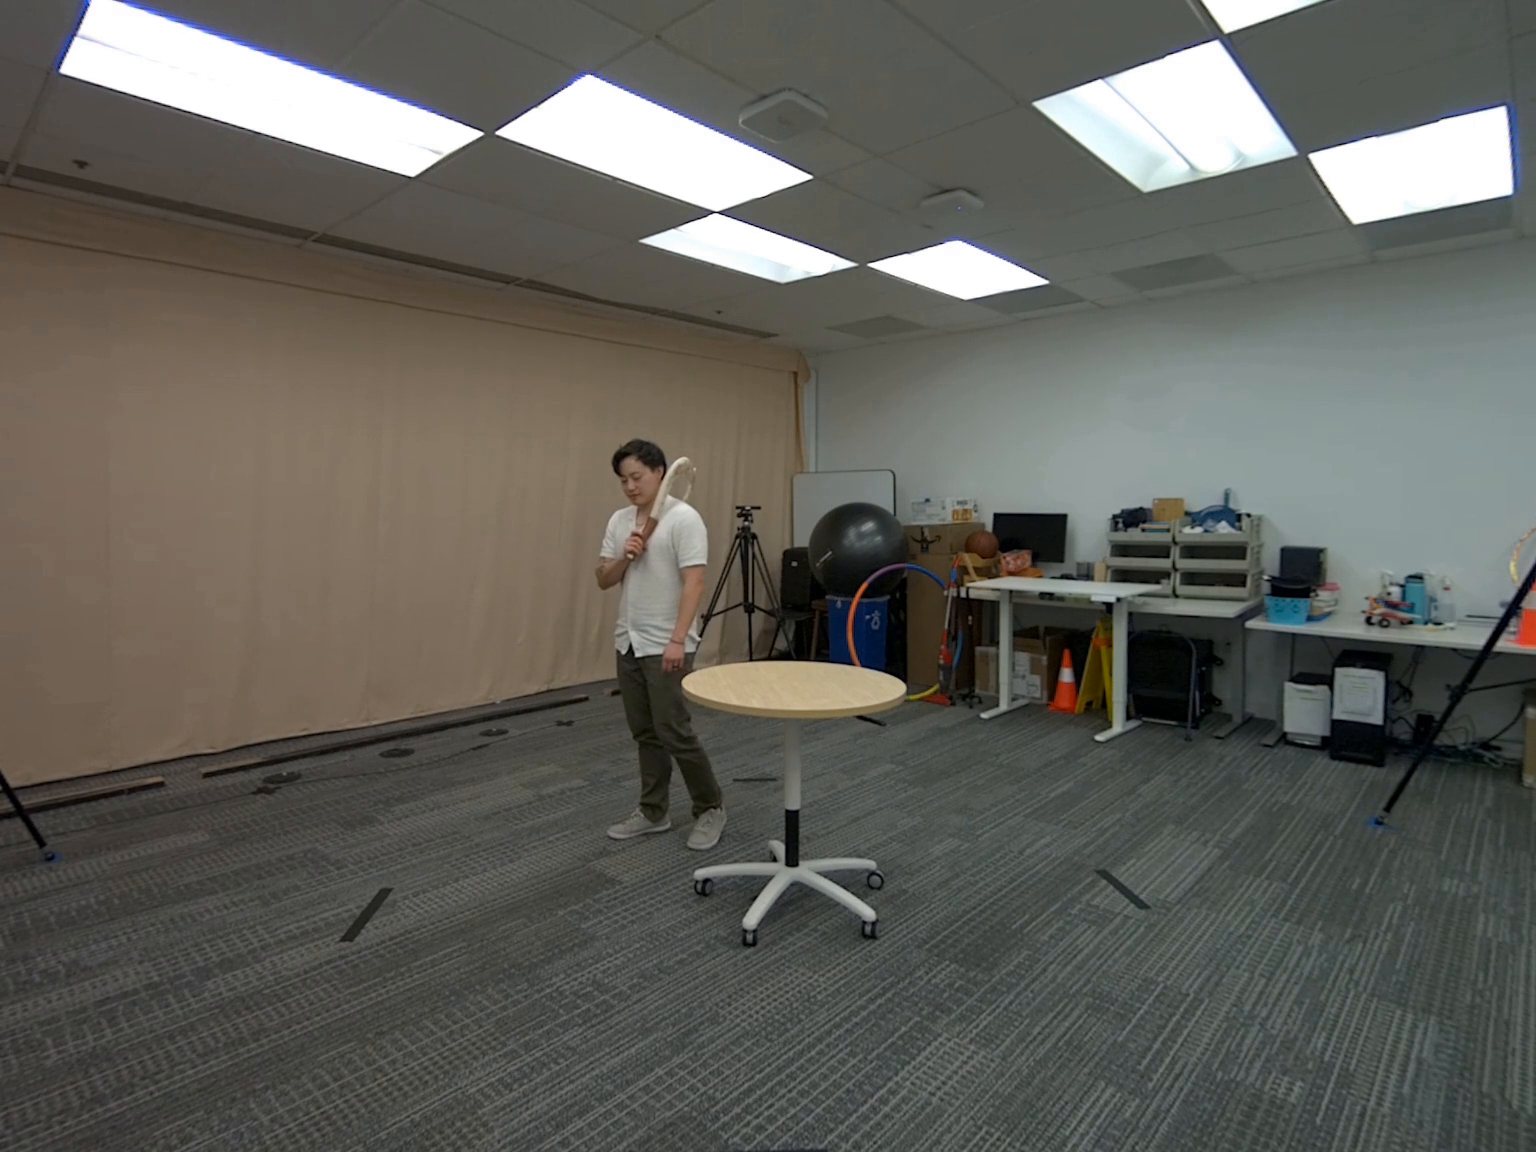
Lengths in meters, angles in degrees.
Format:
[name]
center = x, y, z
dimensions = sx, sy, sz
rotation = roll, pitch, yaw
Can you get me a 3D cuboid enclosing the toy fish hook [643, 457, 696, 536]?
[toy fish hook]
center = -0.425, -0.258, 3.501
dimensions = 0.050, 0.507, 0.217
rotation = 18, -17, 31
